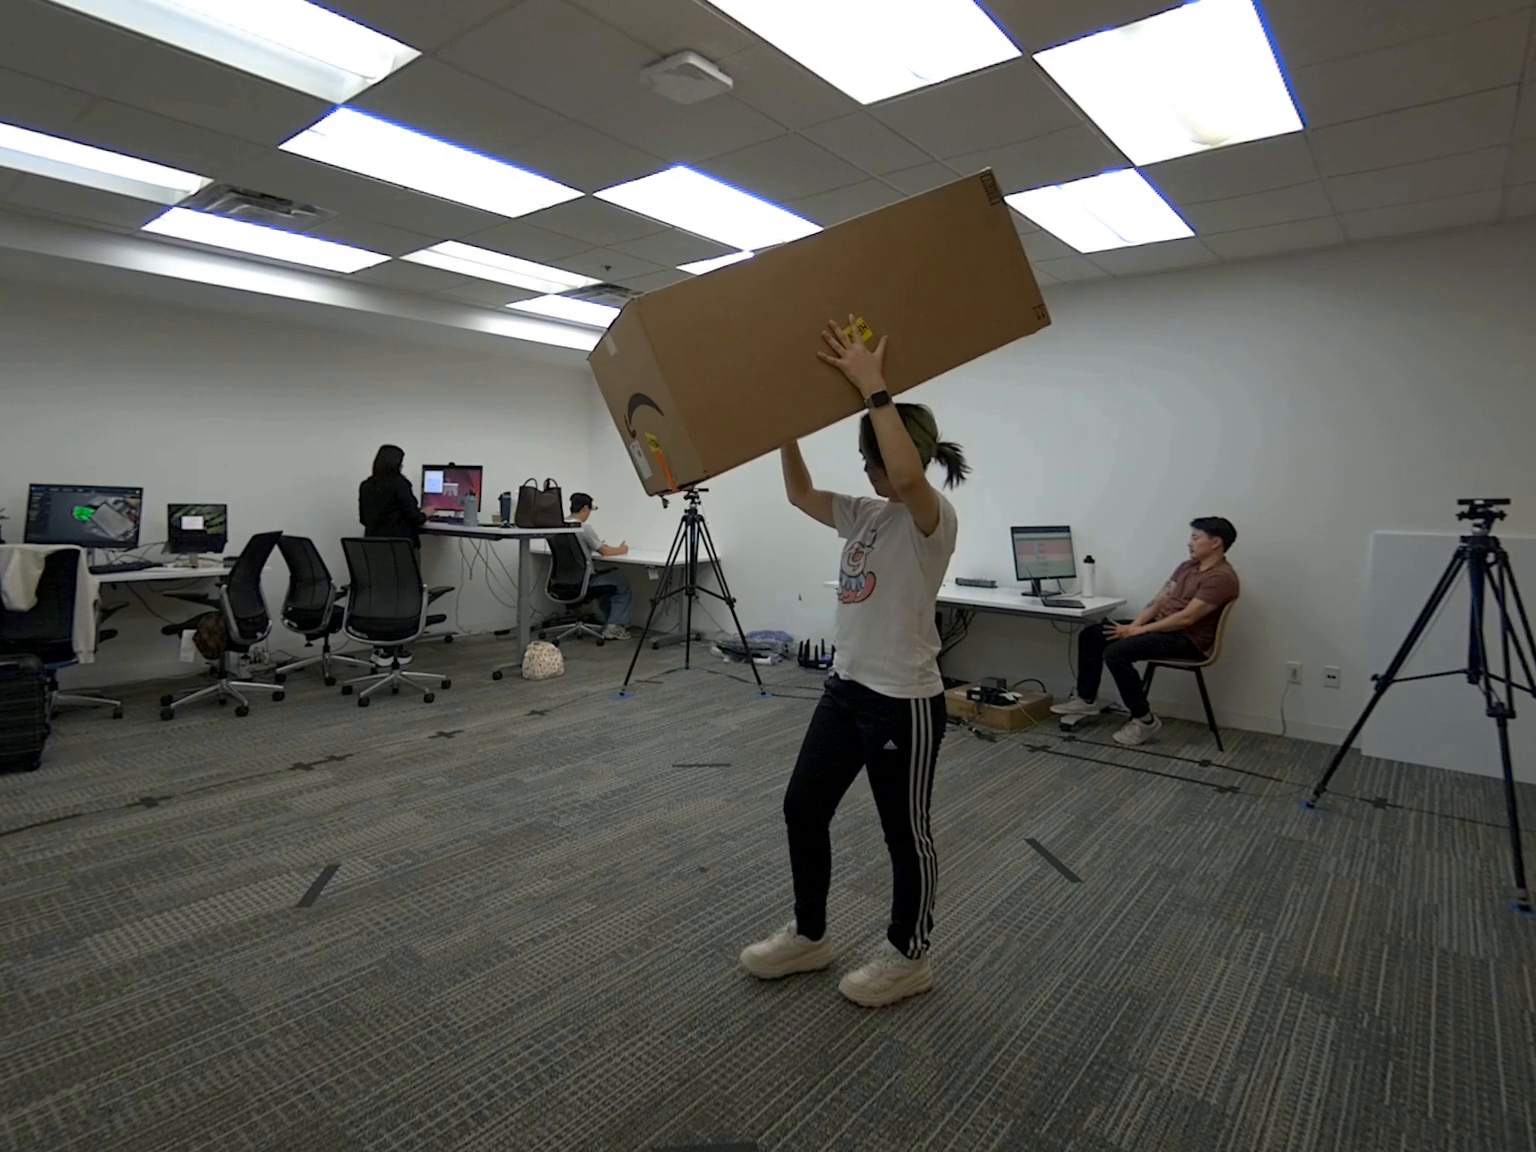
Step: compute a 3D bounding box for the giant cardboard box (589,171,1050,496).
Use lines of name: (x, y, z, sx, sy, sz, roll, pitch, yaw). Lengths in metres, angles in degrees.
giant cardboard box: (0.099, -0.619, 2.267, 1.017, 0.442, 0.596, -27, 11, -18)
